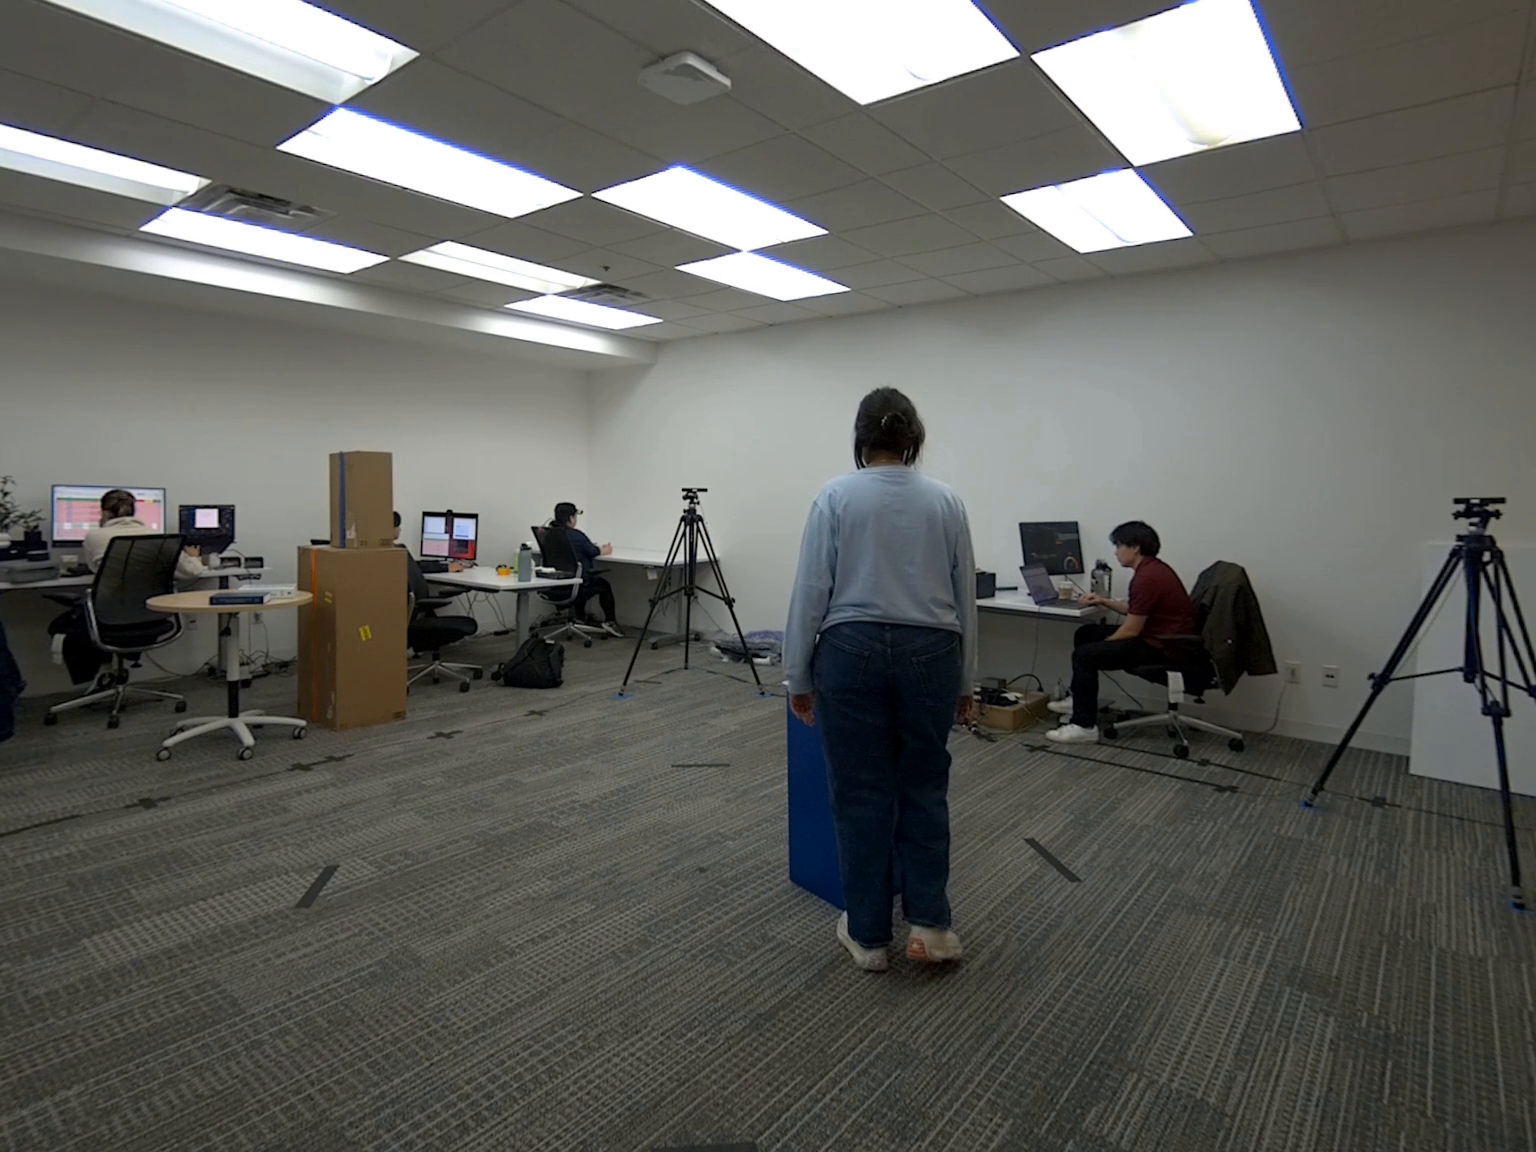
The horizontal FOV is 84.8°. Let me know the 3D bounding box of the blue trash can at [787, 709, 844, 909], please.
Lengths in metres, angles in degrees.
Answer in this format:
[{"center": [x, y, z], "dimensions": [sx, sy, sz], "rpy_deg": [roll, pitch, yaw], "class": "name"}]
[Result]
[{"center": [0.277, 0.731, 2.999], "dimensions": [0.366, 0.712, 0.387], "rpy_deg": [-1, 4, -39], "class": "blue trash can"}]
